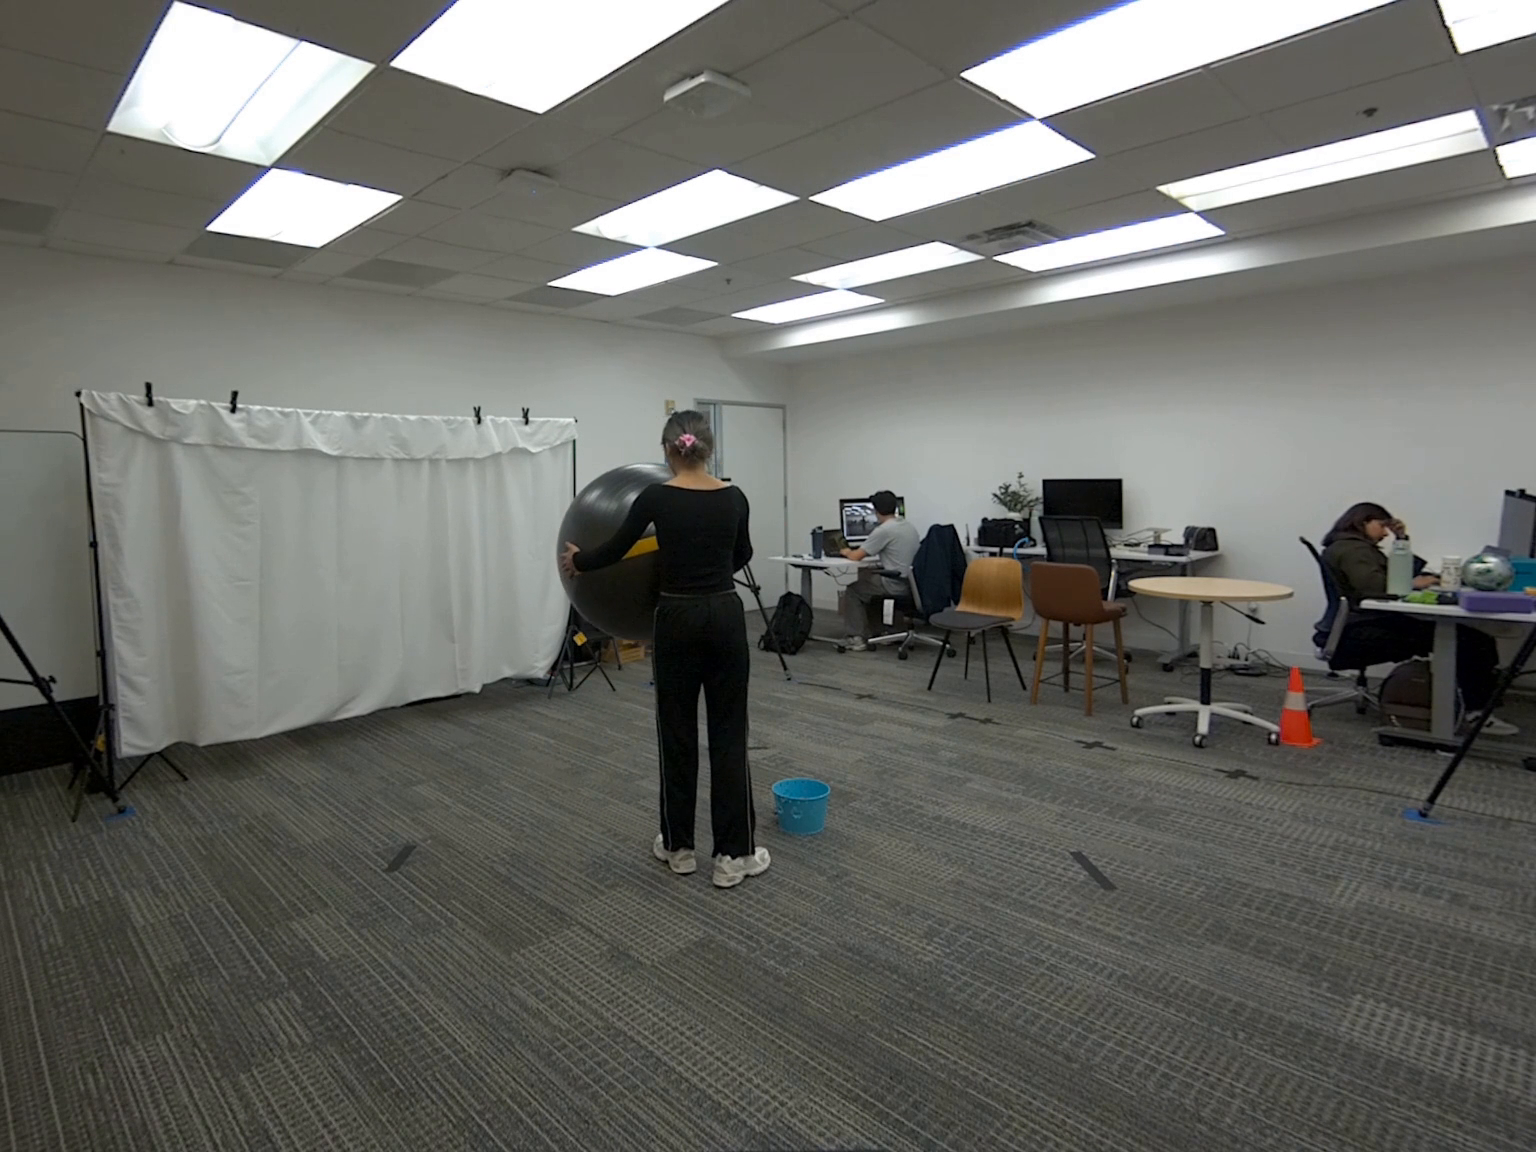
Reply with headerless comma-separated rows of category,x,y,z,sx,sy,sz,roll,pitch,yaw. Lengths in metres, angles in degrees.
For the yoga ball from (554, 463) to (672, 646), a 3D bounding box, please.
yoga ball,-0.514,-0.101,3.634,0.757,0.755,0.762,-1,5,-2
